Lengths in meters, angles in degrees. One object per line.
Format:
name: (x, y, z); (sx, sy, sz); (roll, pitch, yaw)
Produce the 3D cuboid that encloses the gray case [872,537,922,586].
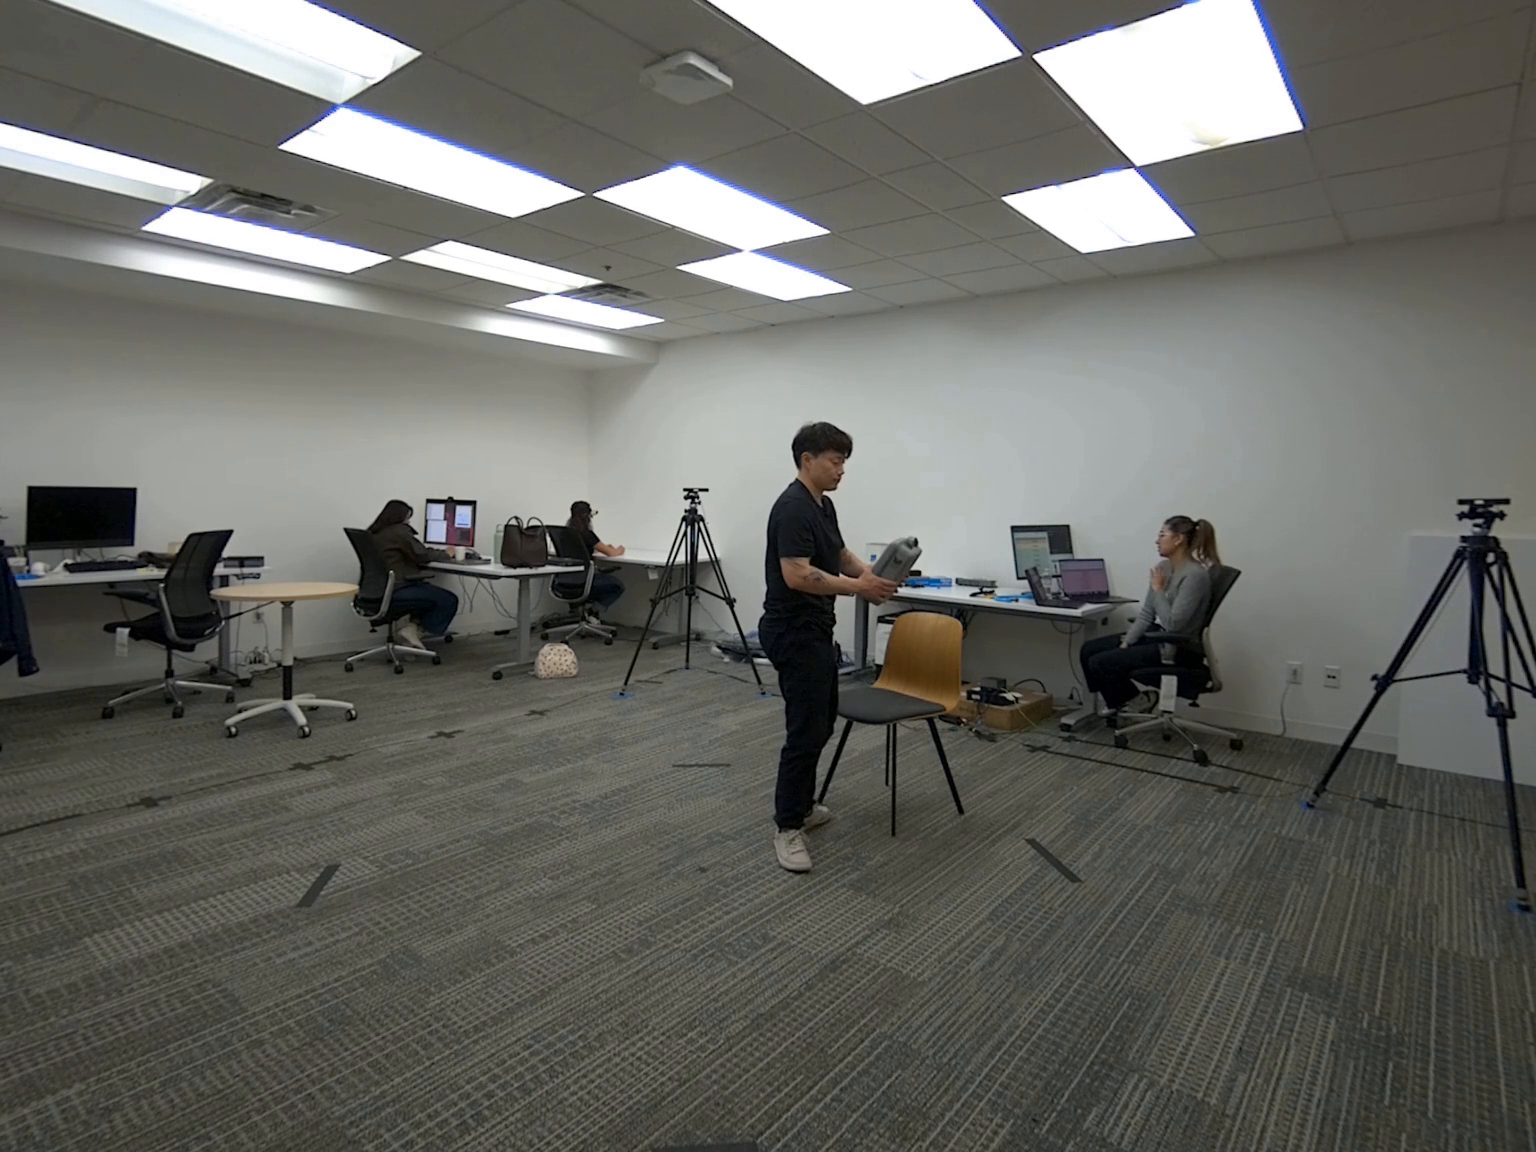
gray case: (0.459, -0.029, 3.274); (0.106, 0.259, 0.253); (38, 19, 13)
